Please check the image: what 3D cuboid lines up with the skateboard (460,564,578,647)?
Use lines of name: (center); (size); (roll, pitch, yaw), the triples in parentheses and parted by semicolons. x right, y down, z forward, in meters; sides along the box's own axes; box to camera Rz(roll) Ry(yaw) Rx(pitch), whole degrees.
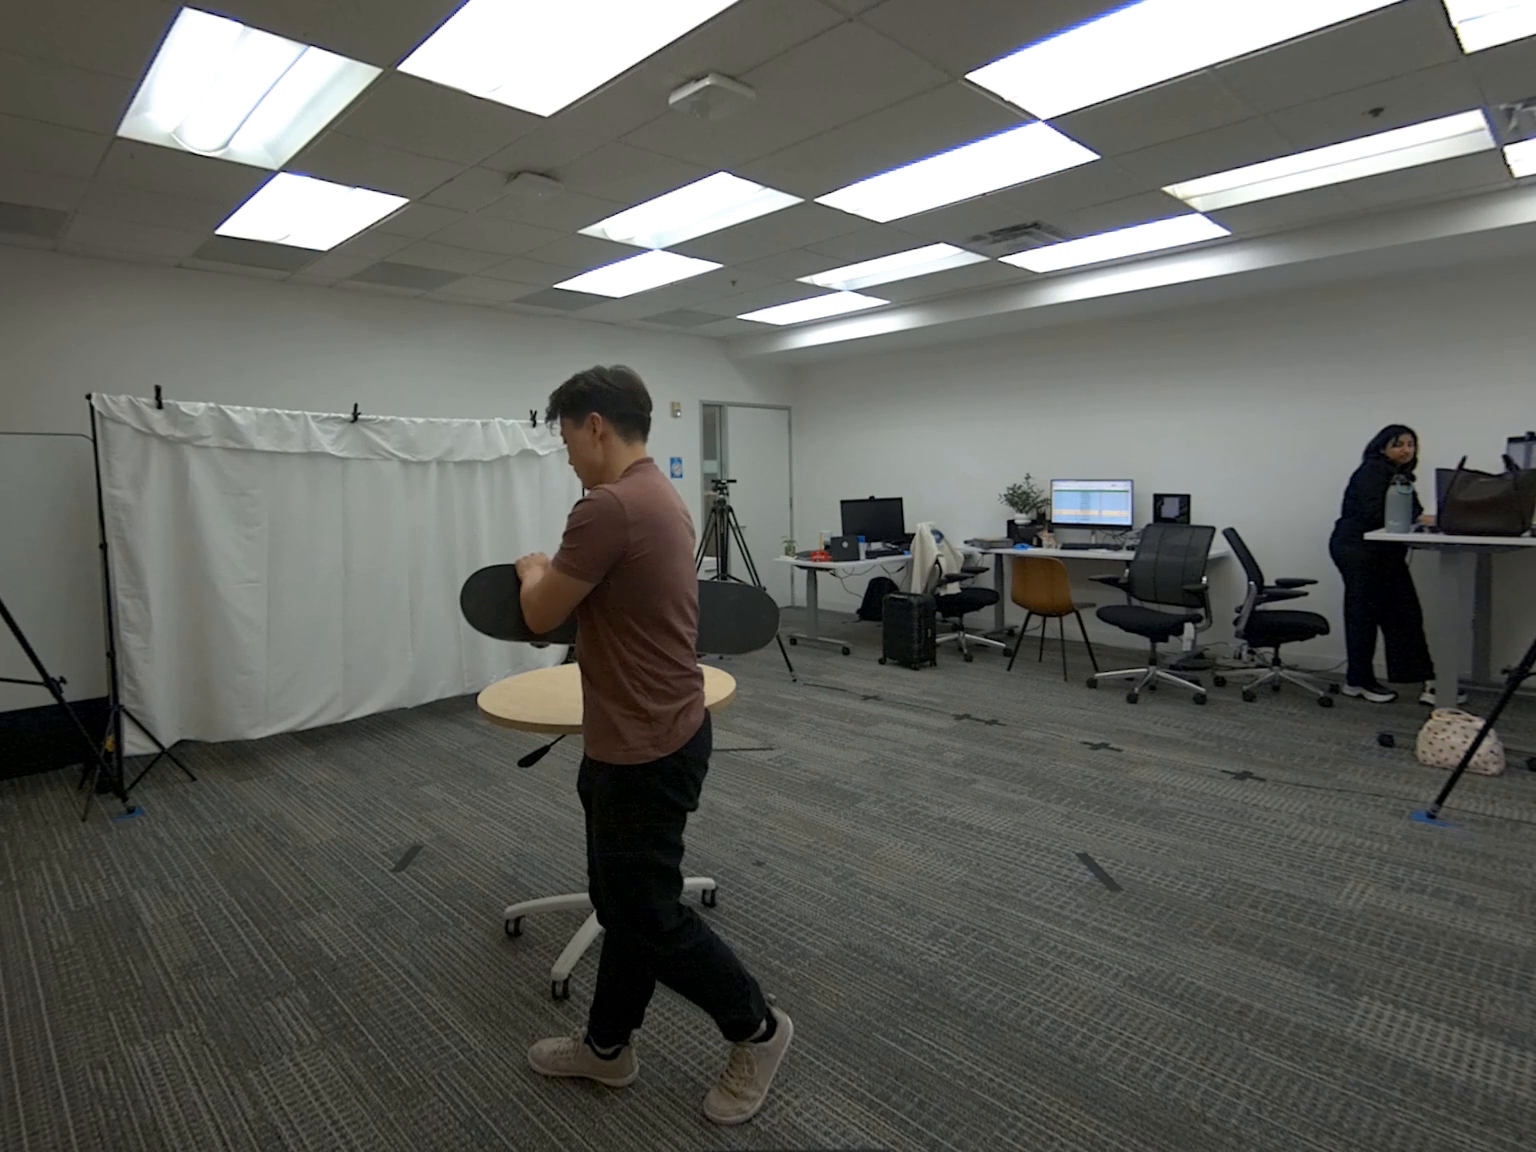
skateboard: (-0.358, 0.107, 2.141); (0.776, 0.197, 0.109); (3, -21, -12)
